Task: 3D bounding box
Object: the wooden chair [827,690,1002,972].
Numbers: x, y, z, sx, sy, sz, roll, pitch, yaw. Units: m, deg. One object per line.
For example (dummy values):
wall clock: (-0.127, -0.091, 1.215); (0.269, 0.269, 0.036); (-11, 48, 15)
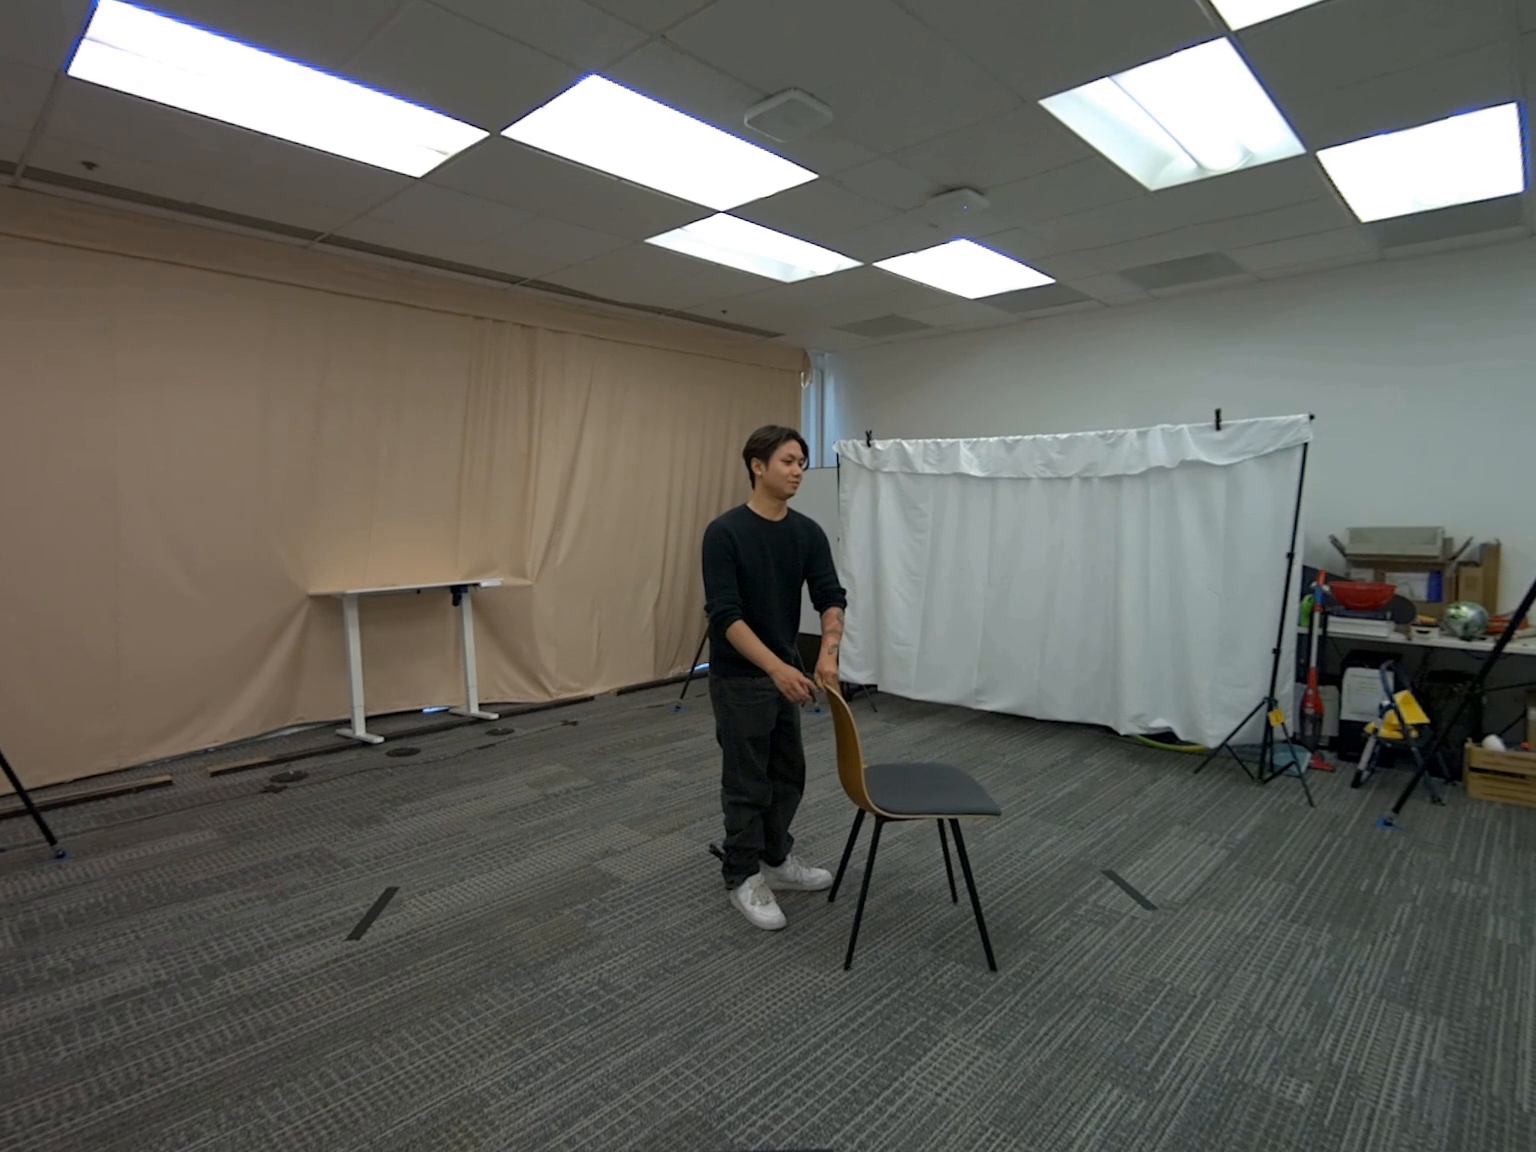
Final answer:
wooden chair: (0.459, 0.741, 2.711); (0.523, 0.876, 0.479); (-5, 3, -1)
